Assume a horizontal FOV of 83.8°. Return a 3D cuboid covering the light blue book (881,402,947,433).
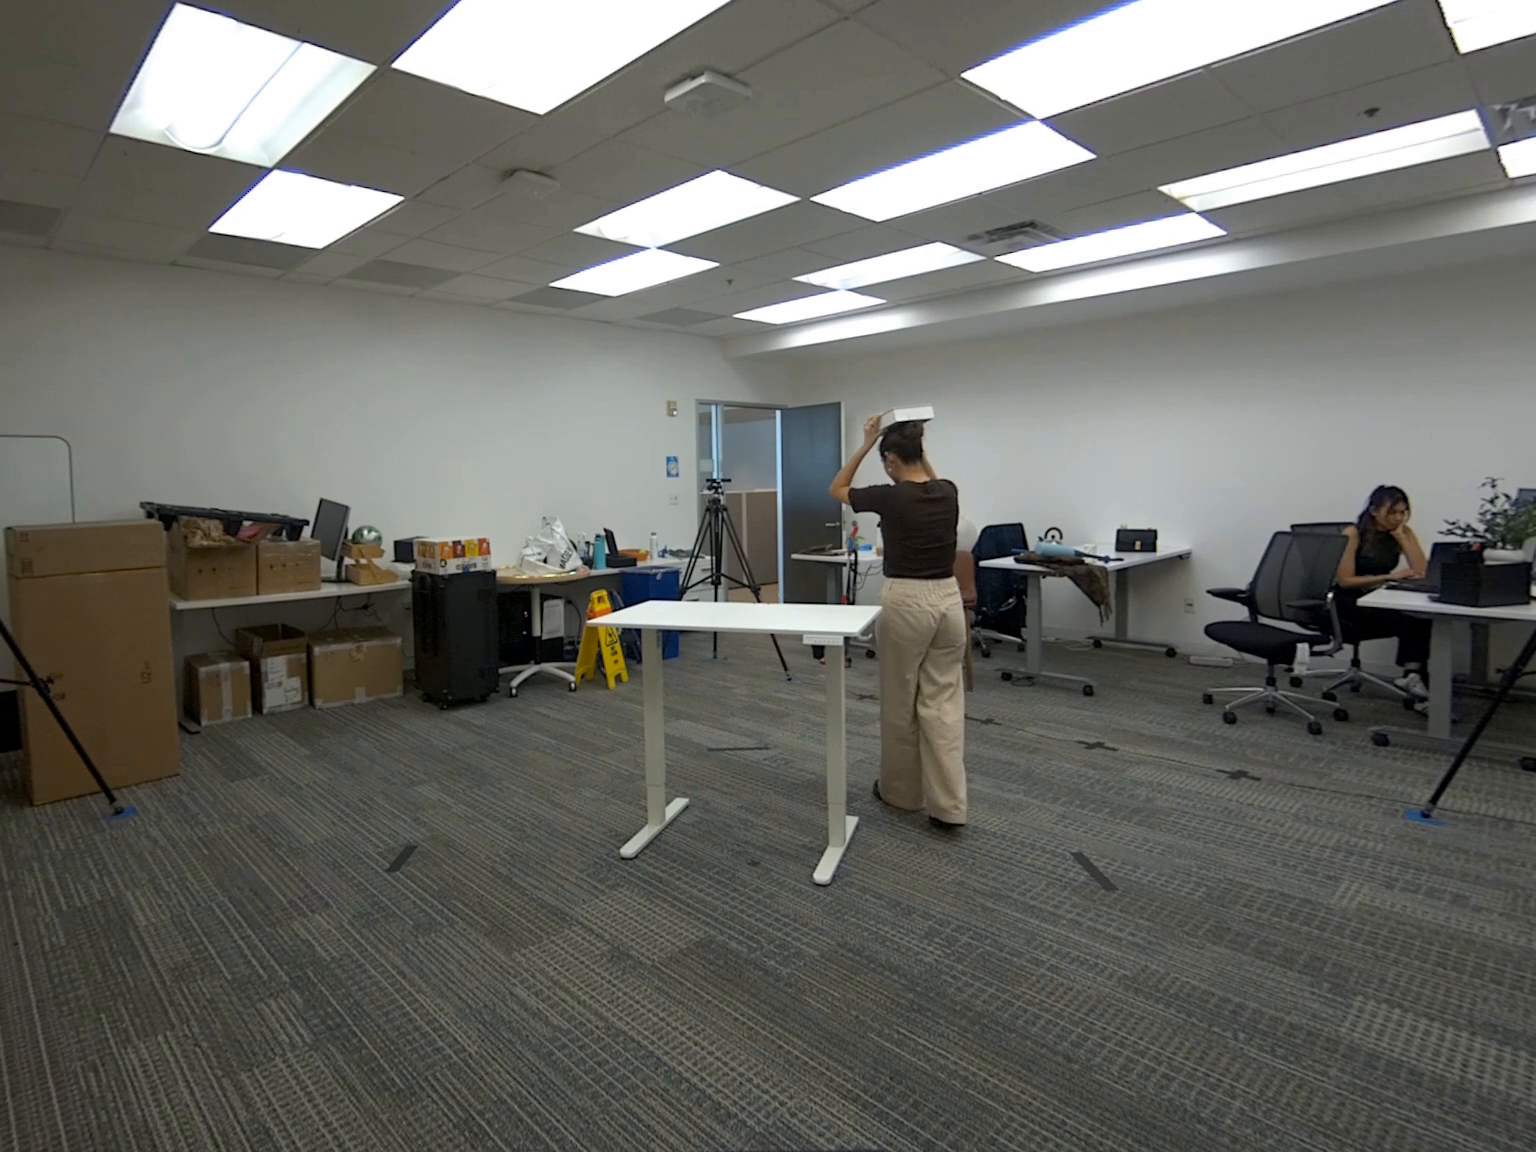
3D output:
[{"bbox_3d":[0.569,-0.639,3.506,0.188,0.059,0.264,-9,-3,-22],"label":"light blue book"}]
